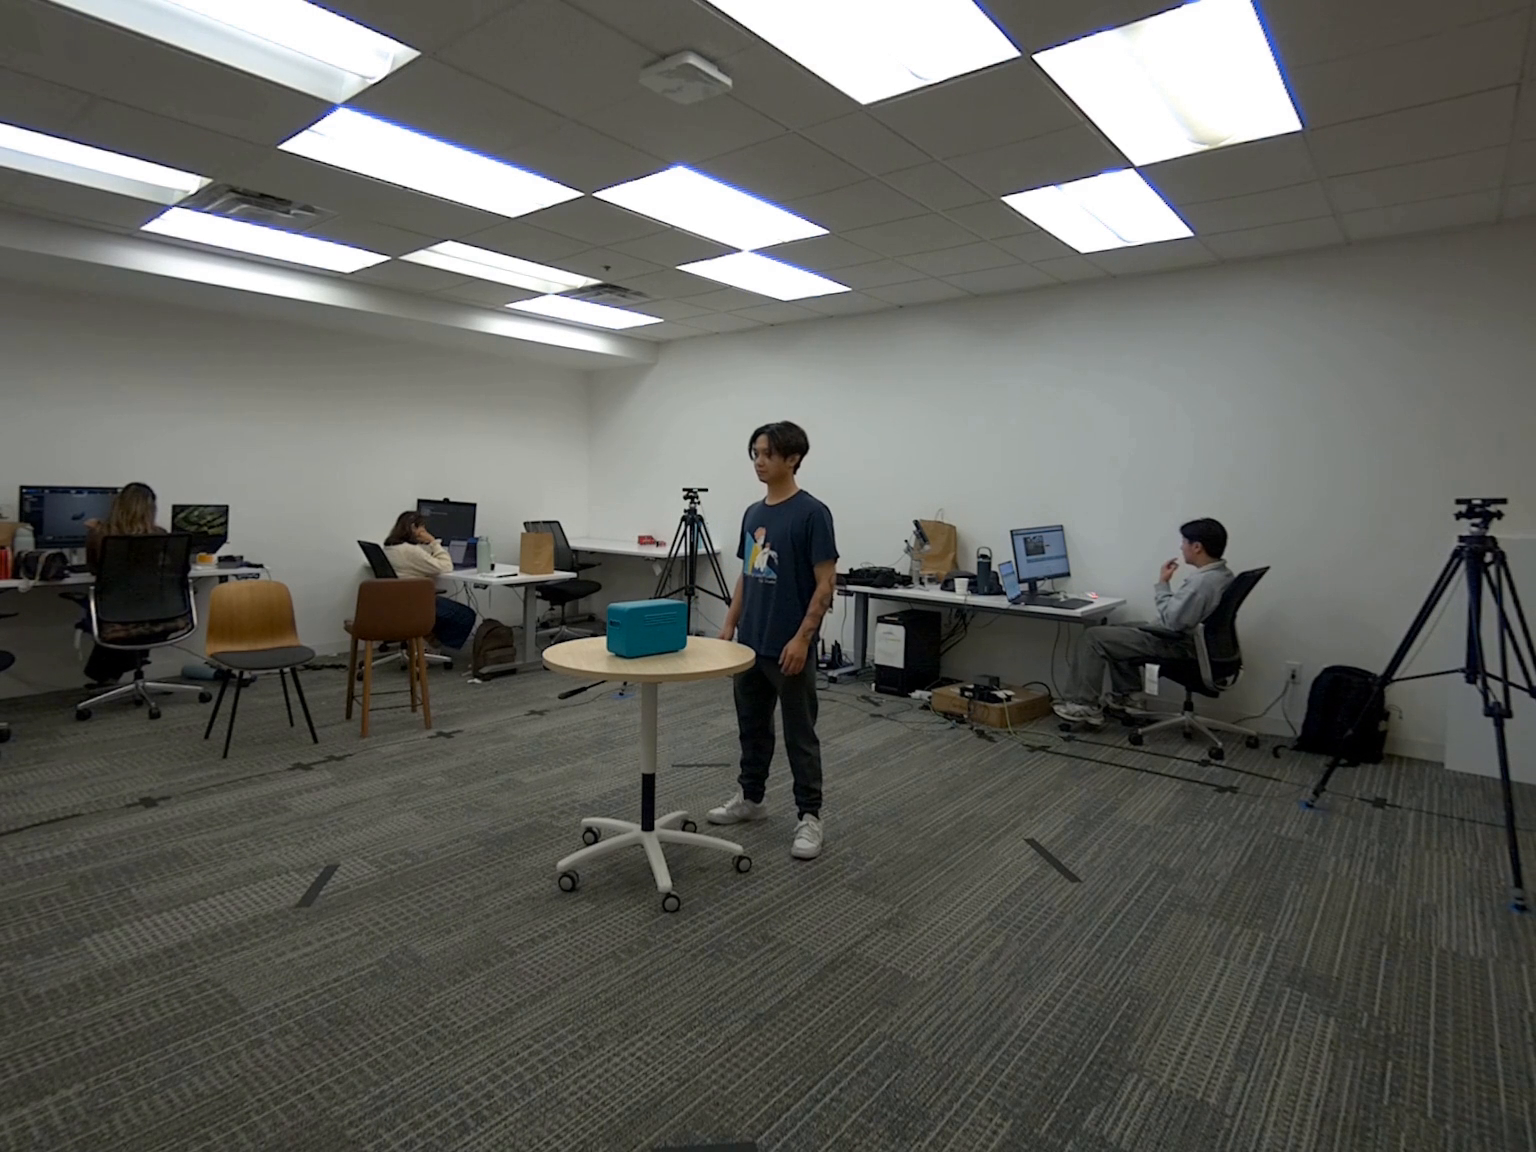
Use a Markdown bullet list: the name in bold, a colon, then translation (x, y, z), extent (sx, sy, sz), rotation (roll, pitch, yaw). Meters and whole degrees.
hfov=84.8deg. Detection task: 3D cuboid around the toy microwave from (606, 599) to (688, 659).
- **toy microwave**: translation (-0.448, 0.183, 3.067), extent (0.277, 0.183, 0.157), rotation (-4, 5, -43)
